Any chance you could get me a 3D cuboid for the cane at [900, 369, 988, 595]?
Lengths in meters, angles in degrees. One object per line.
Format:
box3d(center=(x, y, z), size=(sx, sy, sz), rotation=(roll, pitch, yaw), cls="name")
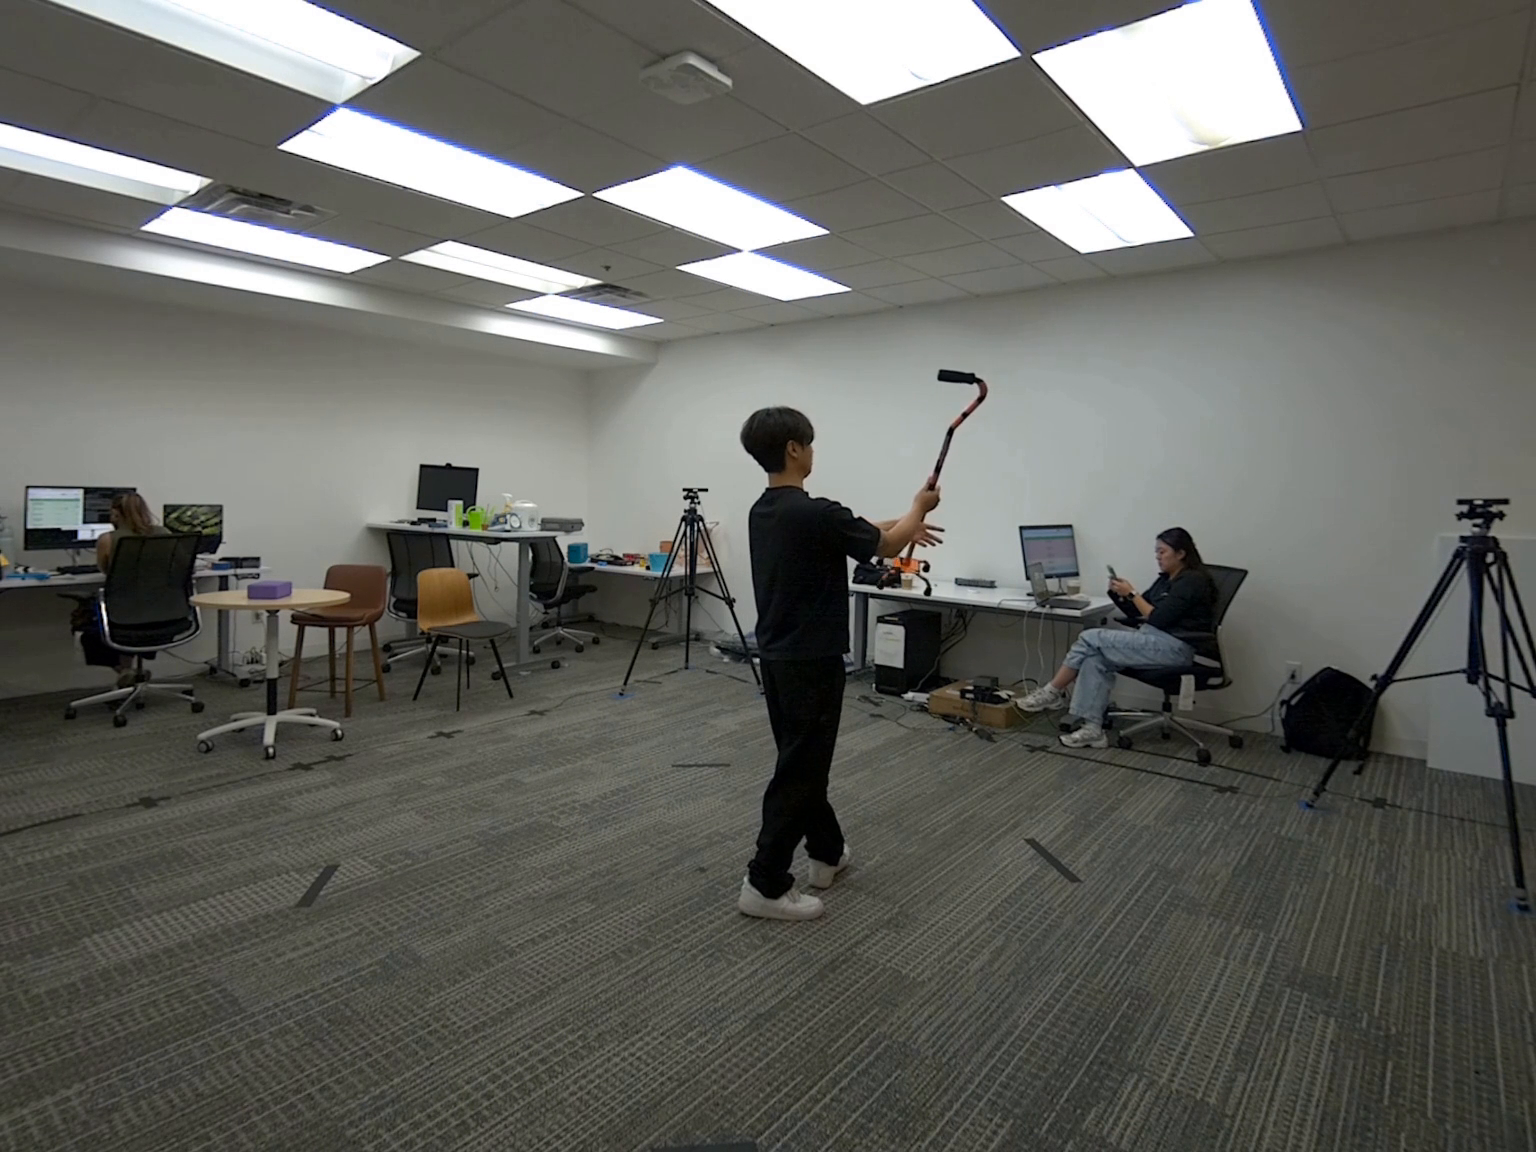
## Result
box3d(center=(0.551, -0.301, 2.891), size=(0.207, 0.885, 0.155), rotation=(8, 44, 1), cls="cane")
